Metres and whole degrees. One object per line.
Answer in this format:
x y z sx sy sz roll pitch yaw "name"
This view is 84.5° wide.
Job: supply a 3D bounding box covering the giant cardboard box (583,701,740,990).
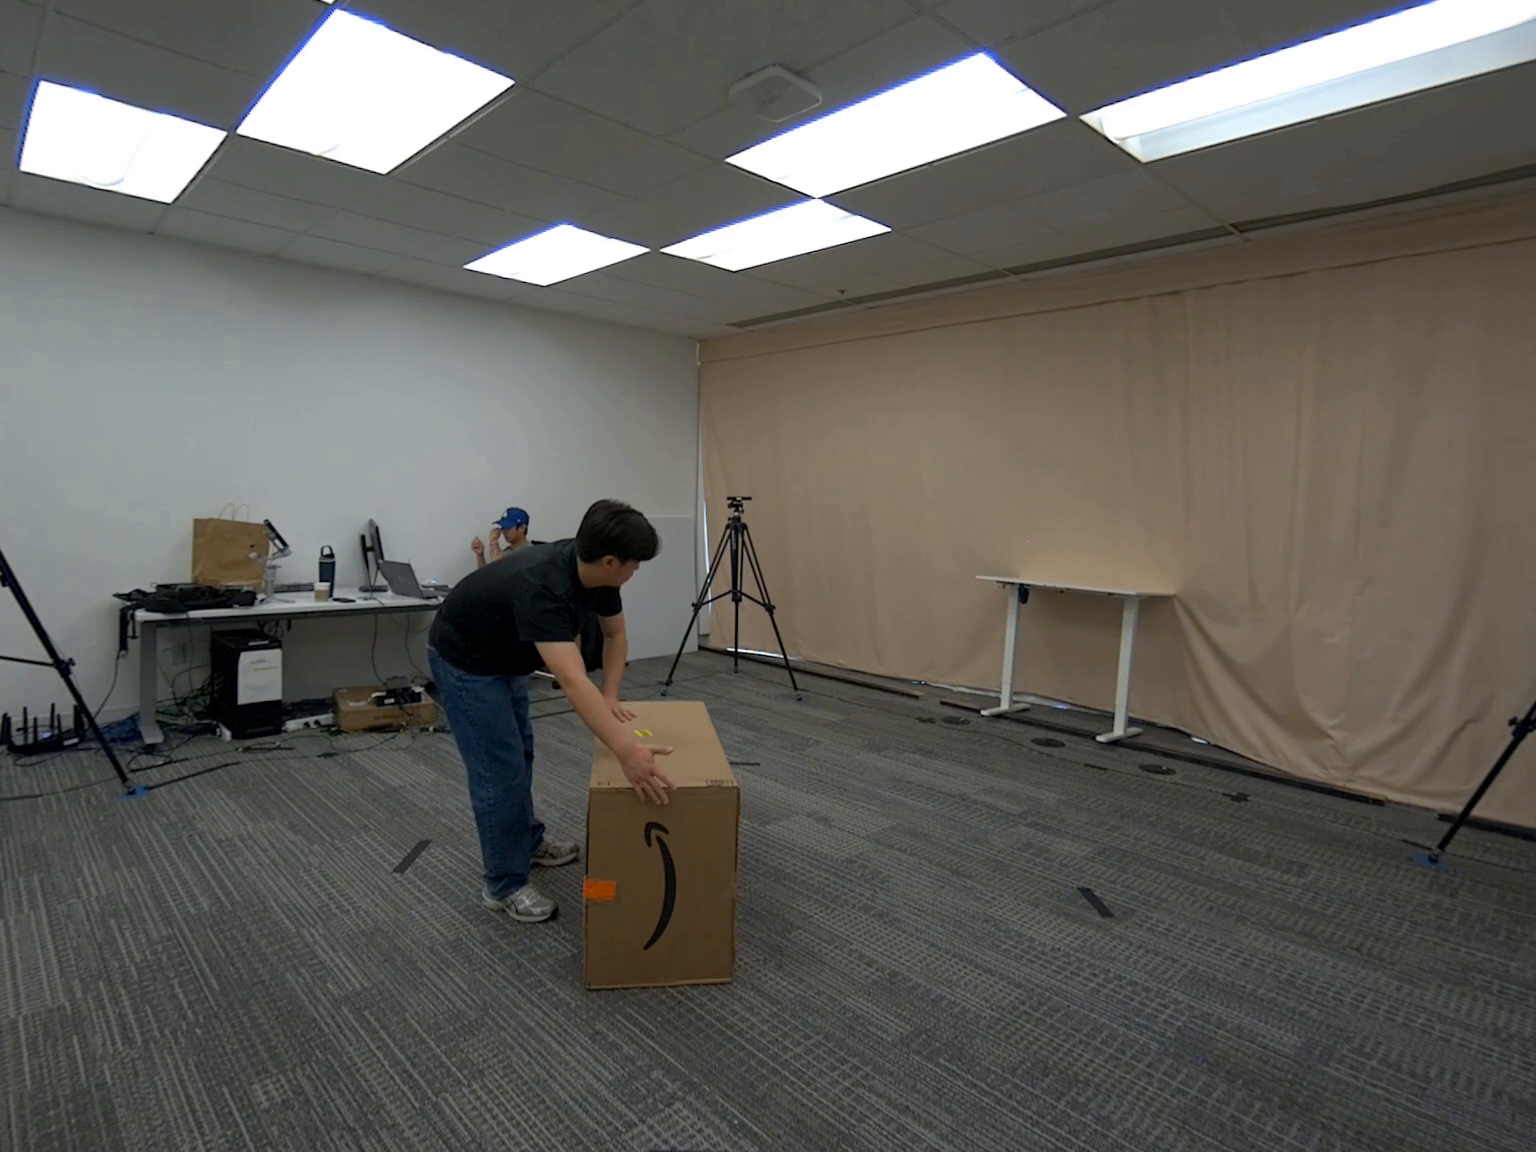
-0.391 0.835 2.879 0.443 0.582 1.037 0 4 -10 "giant cardboard box"
